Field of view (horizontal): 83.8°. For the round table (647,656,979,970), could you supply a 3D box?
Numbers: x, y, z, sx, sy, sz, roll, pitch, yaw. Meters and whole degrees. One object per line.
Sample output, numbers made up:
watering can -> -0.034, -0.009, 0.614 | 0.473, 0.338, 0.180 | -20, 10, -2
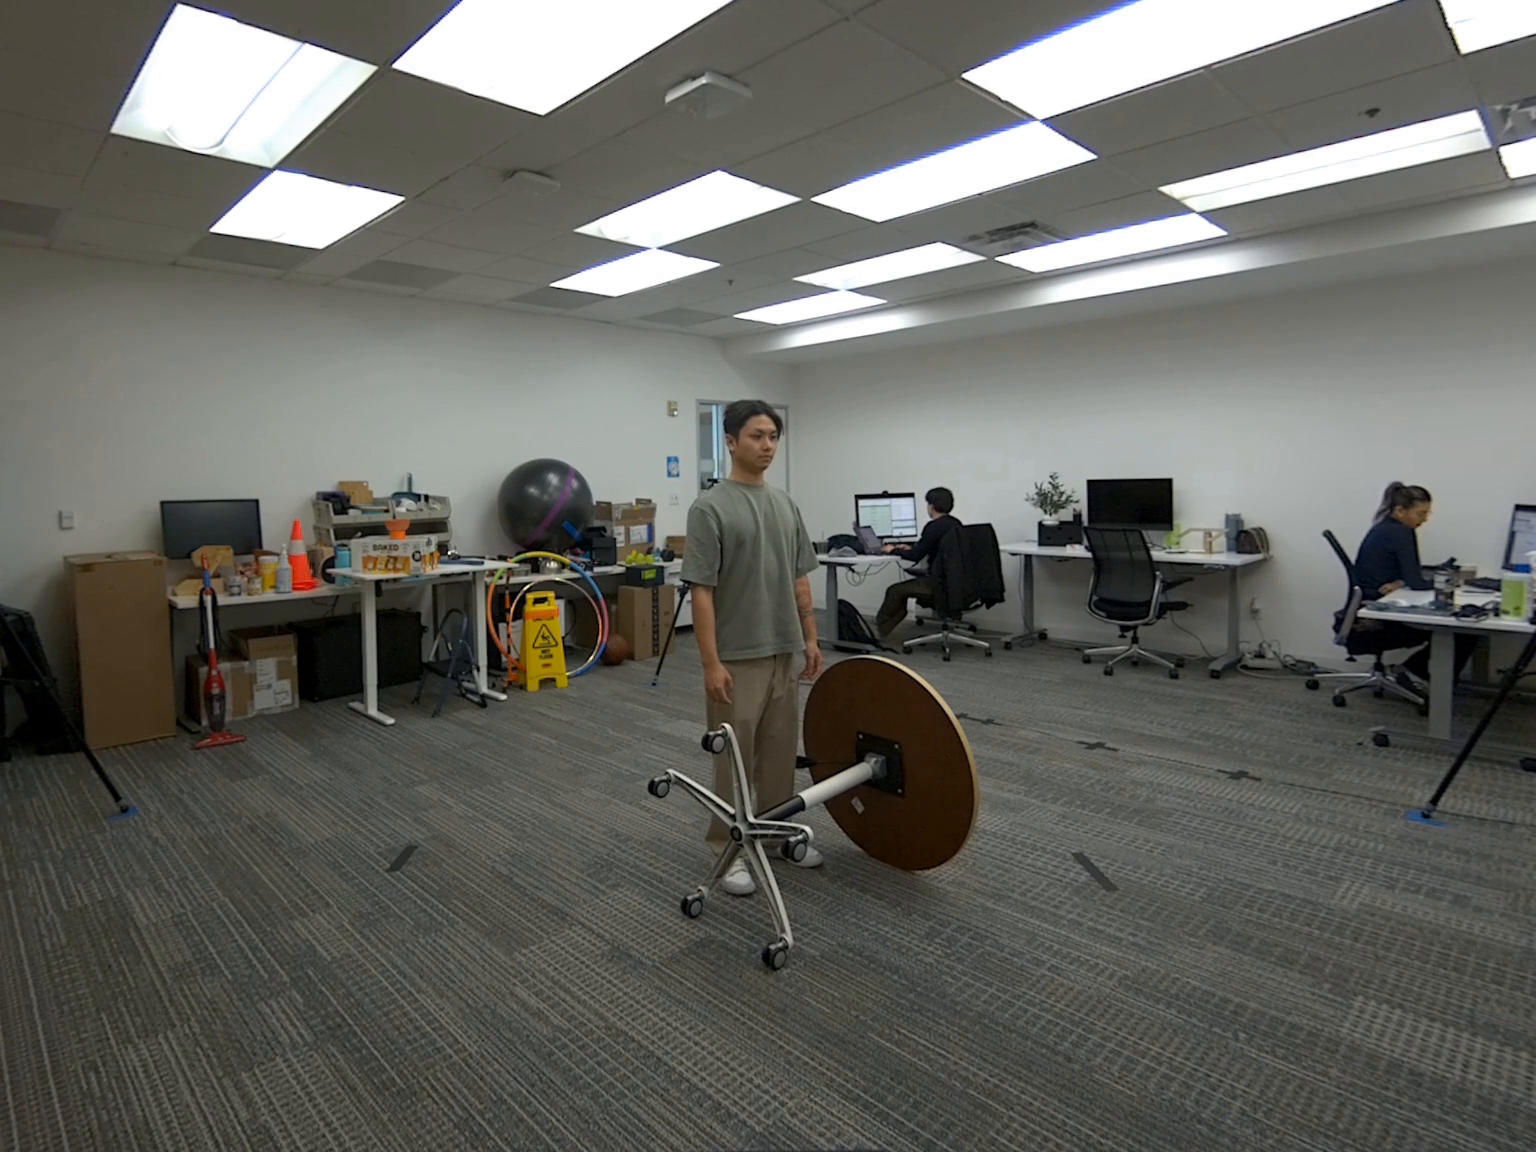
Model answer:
round table -> 0.138, 0.734, 2.789 | 0.769, 0.778, 0.809 | -14, 12, -41
